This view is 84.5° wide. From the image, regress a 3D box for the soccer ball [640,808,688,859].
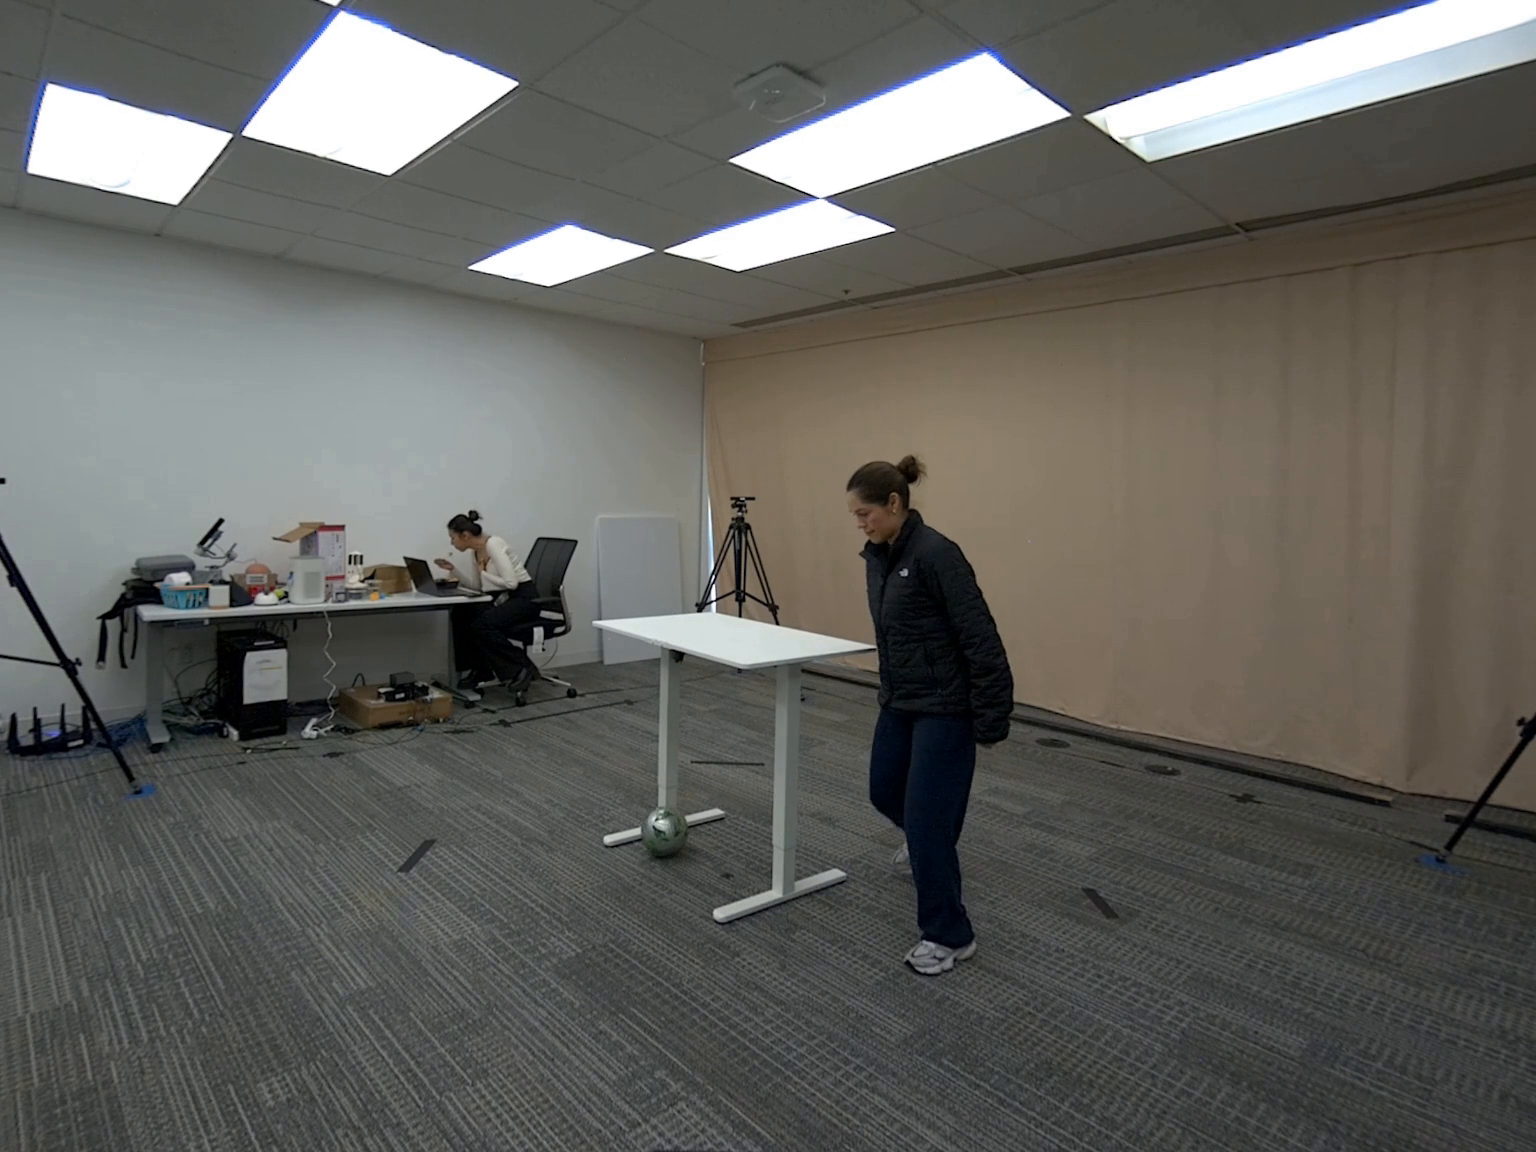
[{"bbox_3d":[-0.412,0.993,3.265,0.187,0.187,0.188,1,4,-1],"label":"soccer ball"}]
